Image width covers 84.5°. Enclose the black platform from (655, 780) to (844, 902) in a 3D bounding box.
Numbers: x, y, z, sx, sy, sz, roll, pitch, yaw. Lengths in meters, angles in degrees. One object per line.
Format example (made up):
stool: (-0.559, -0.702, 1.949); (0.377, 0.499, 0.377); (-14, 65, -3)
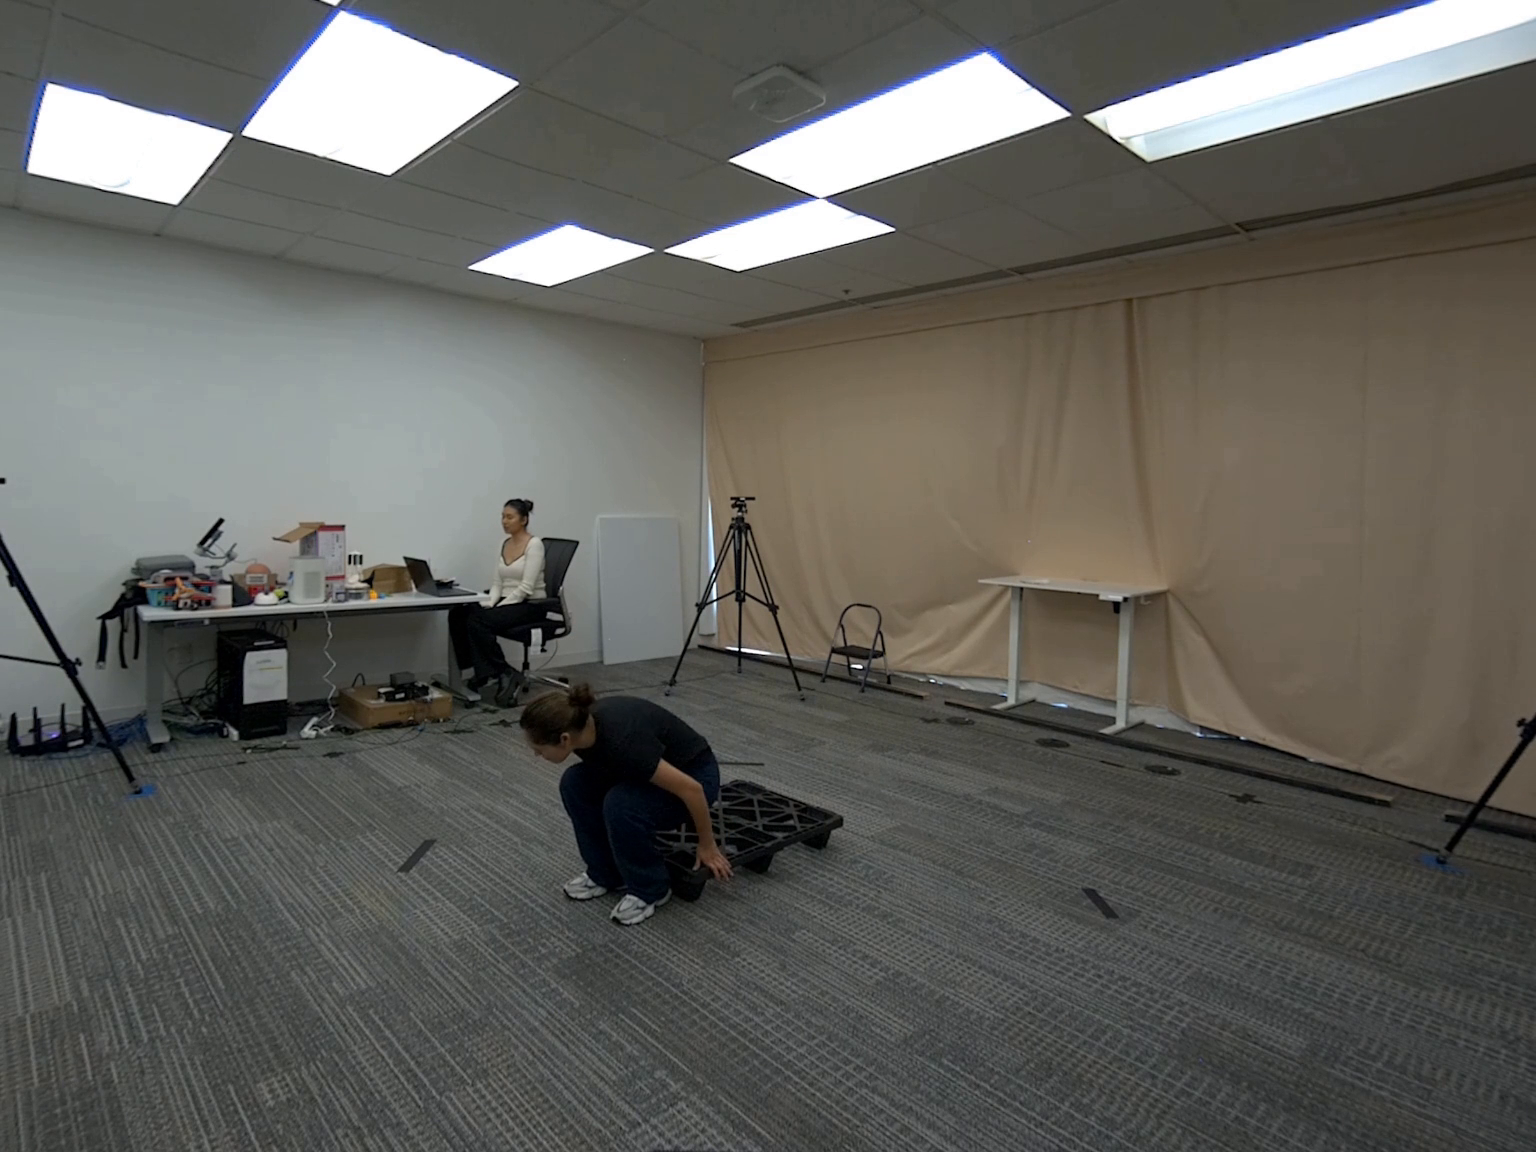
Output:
black platform: (-0.191, 1.026, 3.297); (0.620, 0.143, 0.787); (5, 6, 45)
